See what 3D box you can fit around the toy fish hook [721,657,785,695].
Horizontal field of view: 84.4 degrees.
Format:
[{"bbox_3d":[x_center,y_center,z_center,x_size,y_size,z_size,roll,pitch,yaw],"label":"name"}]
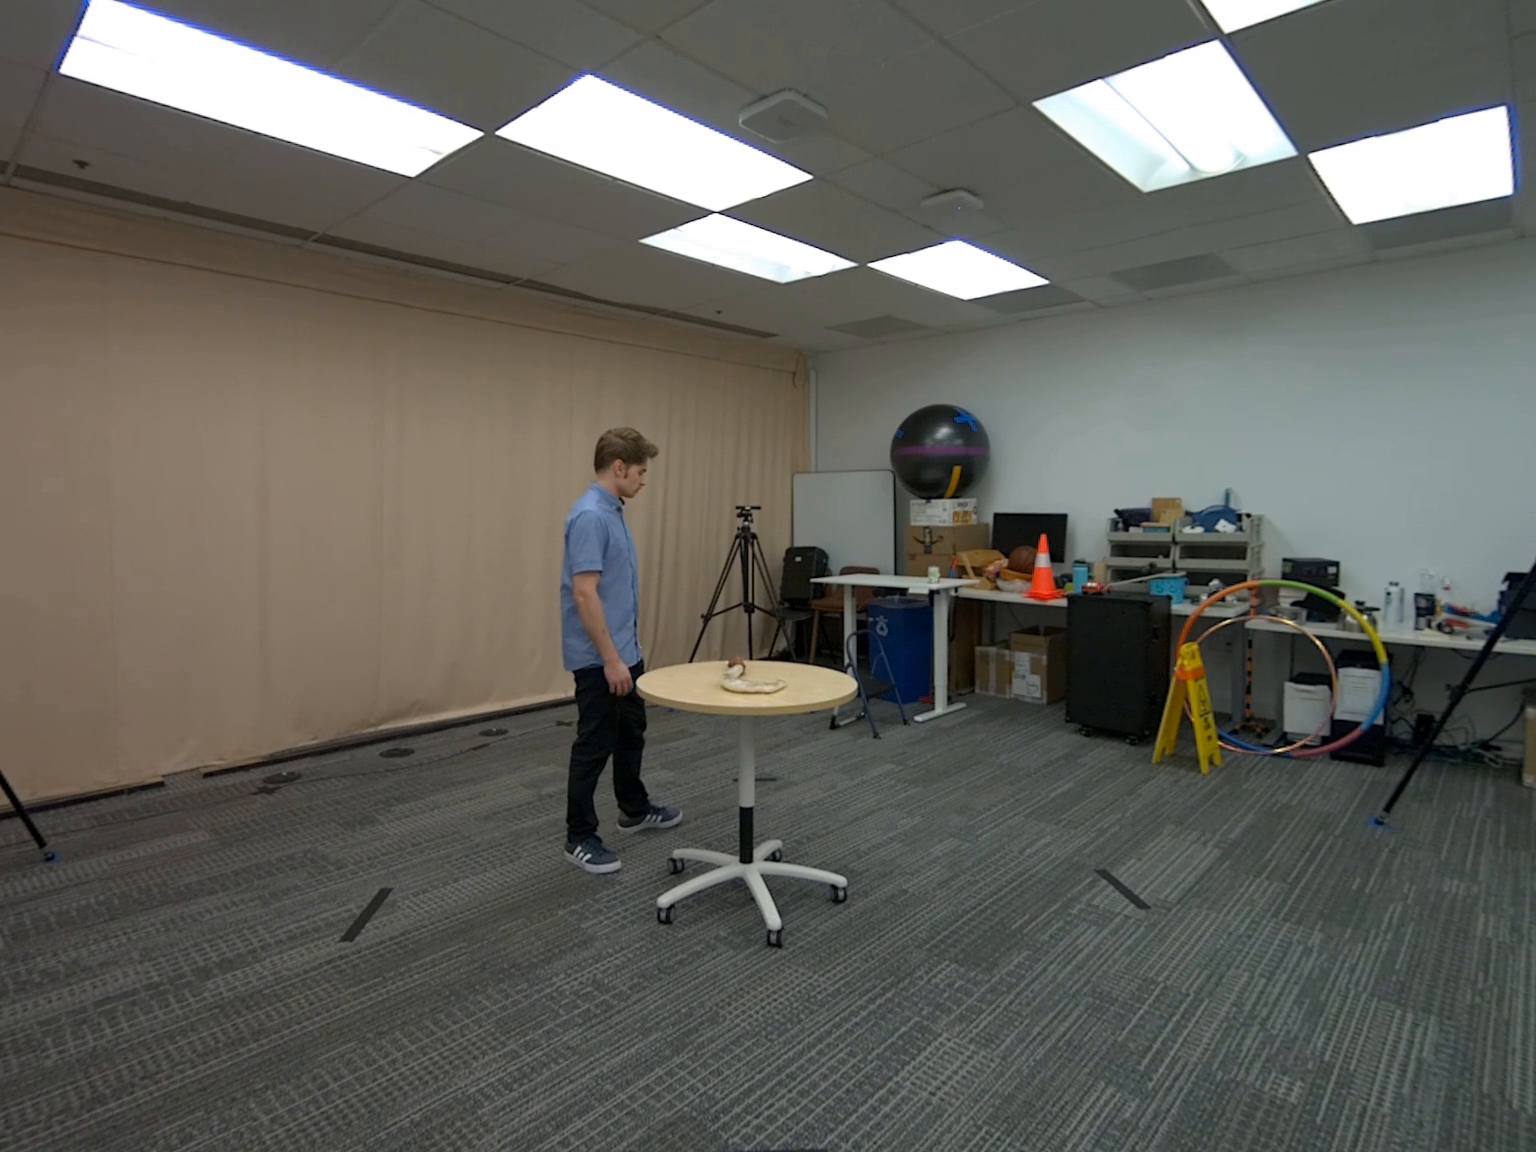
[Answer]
[{"bbox_3d":[-0.052,0.350,2.970,0.224,0.048,0.509,7,5,-4],"label":"toy fish hook"}]
